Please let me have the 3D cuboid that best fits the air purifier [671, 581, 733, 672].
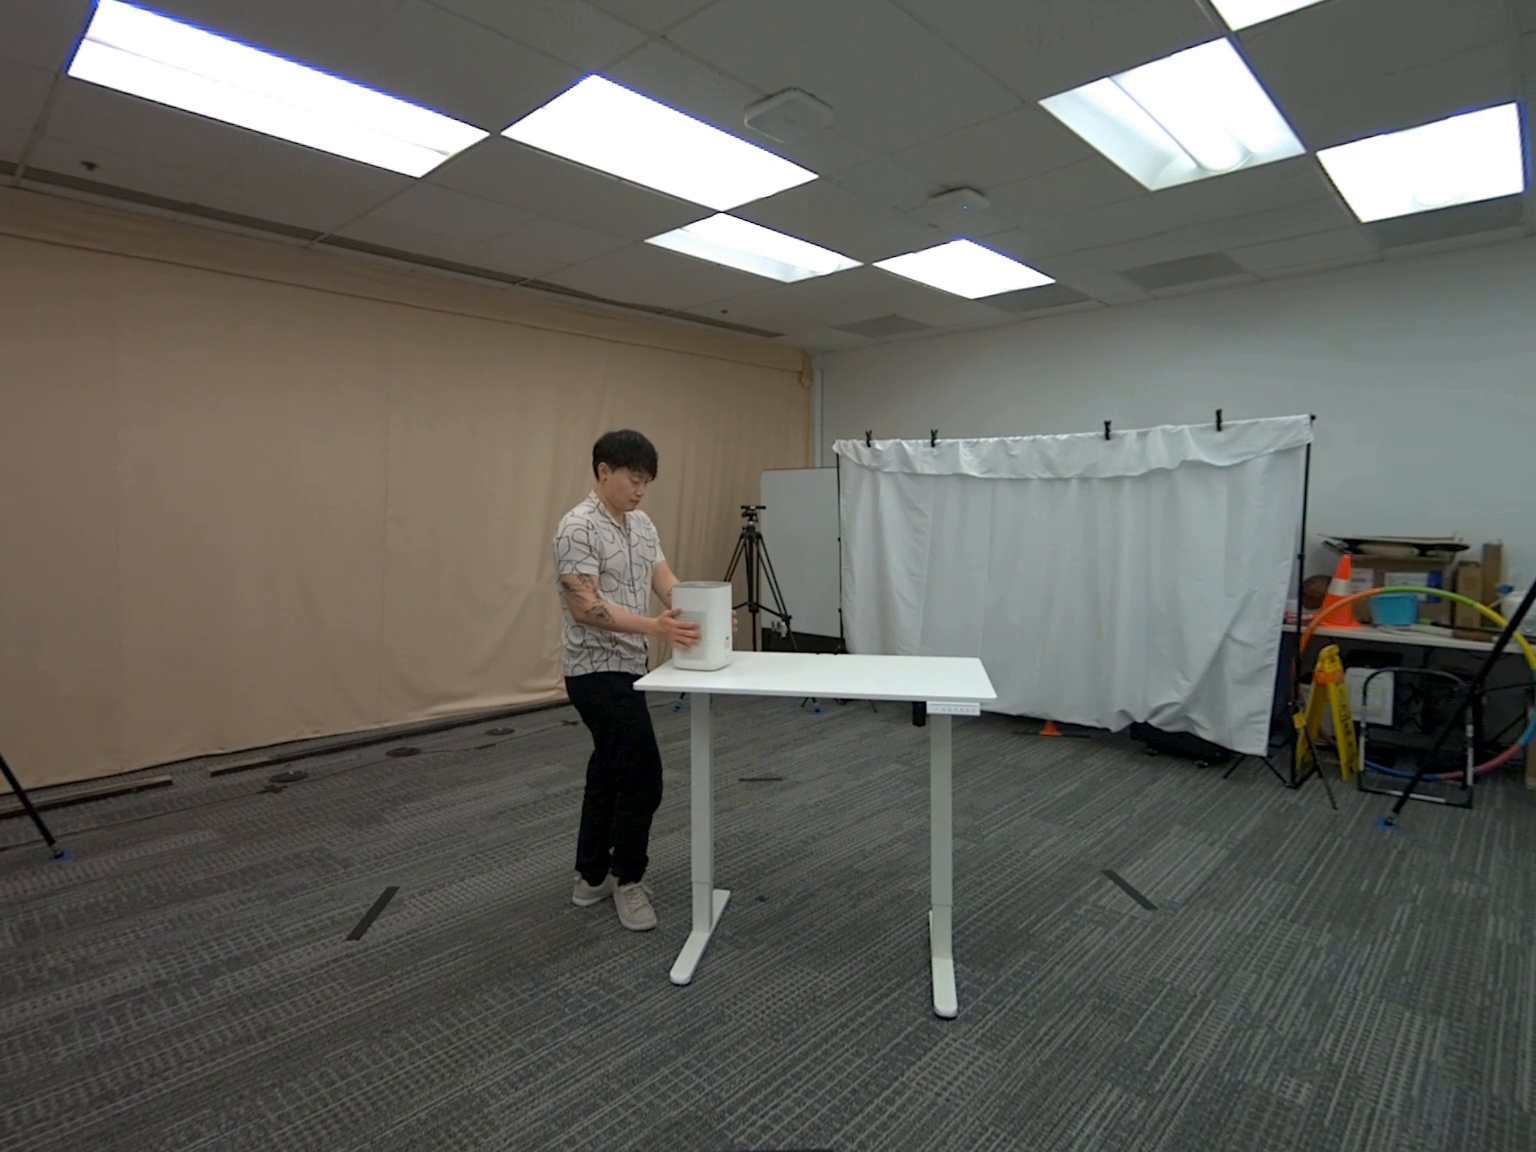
[{"bbox_3d":[-0.210,0.165,2.662,0.175,0.264,0.168,2,7,19],"label":"air purifier"}]
